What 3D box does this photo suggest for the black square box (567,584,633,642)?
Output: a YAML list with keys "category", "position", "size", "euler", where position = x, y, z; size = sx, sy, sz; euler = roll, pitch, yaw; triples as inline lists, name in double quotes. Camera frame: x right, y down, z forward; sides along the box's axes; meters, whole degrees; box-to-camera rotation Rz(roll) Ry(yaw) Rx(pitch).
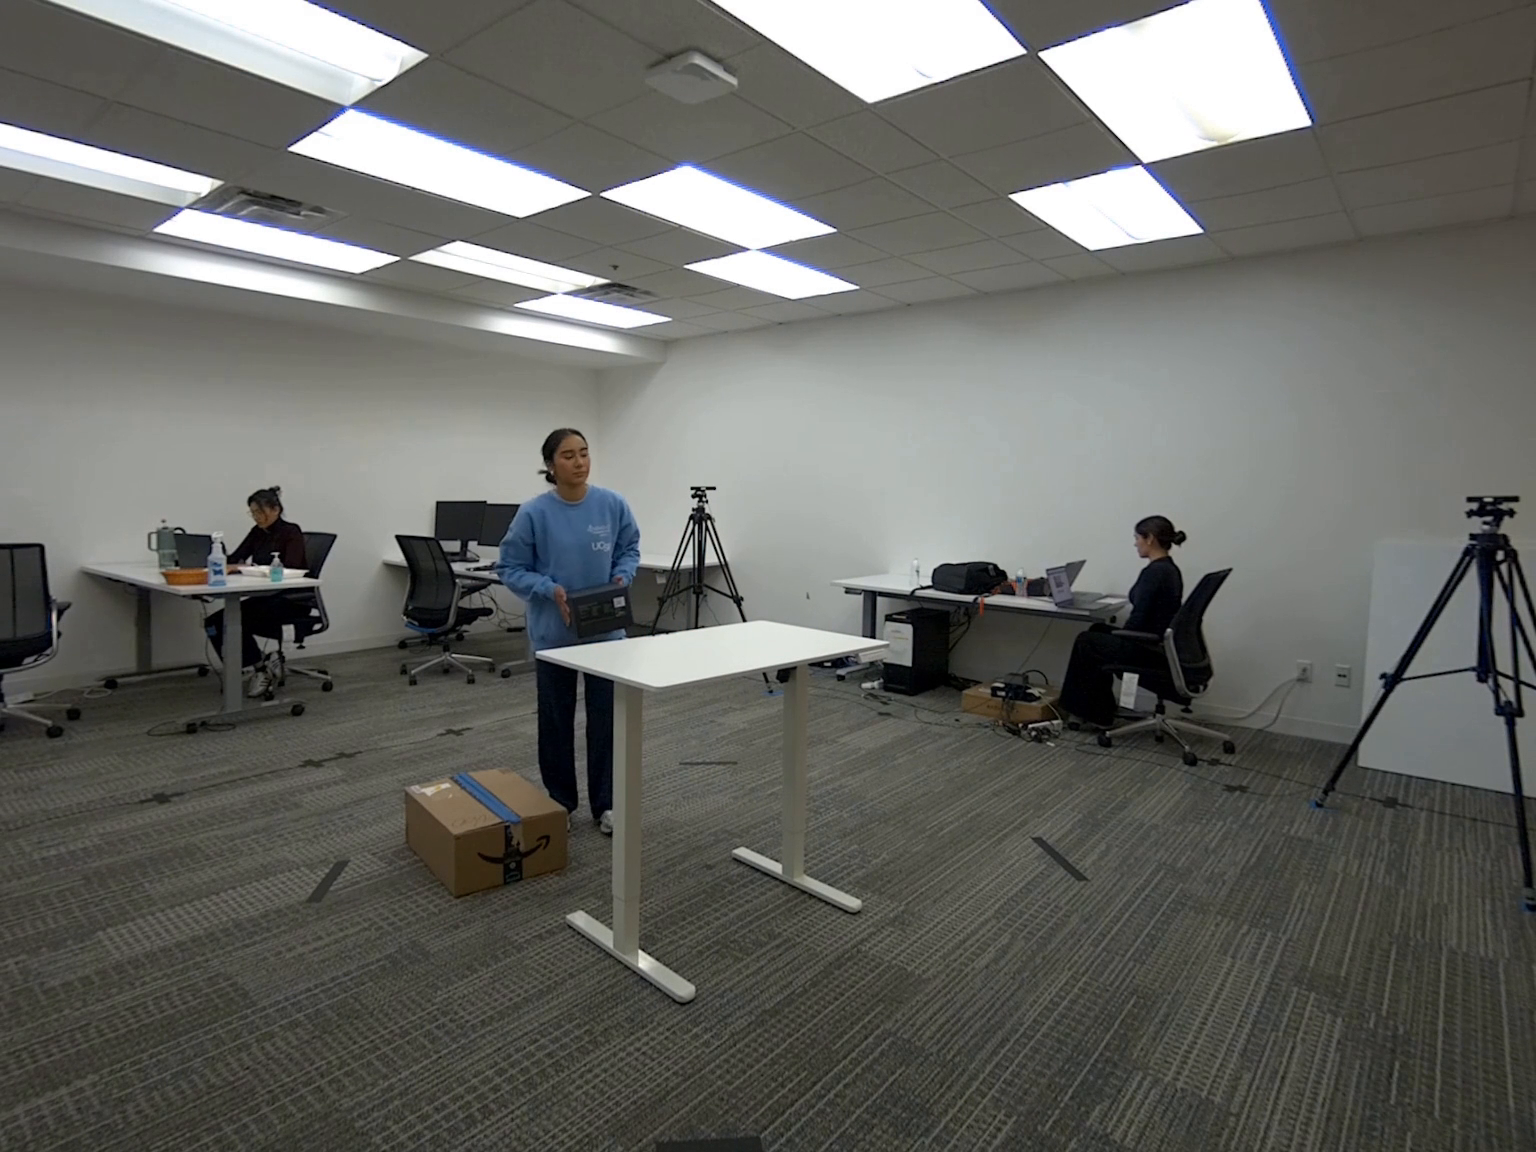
- category: "black square box"
  position: [-0.665, 0.123, 3.251]
  size: [0.213, 0.155, 0.233]
  euler: [-11, 7, -21]
